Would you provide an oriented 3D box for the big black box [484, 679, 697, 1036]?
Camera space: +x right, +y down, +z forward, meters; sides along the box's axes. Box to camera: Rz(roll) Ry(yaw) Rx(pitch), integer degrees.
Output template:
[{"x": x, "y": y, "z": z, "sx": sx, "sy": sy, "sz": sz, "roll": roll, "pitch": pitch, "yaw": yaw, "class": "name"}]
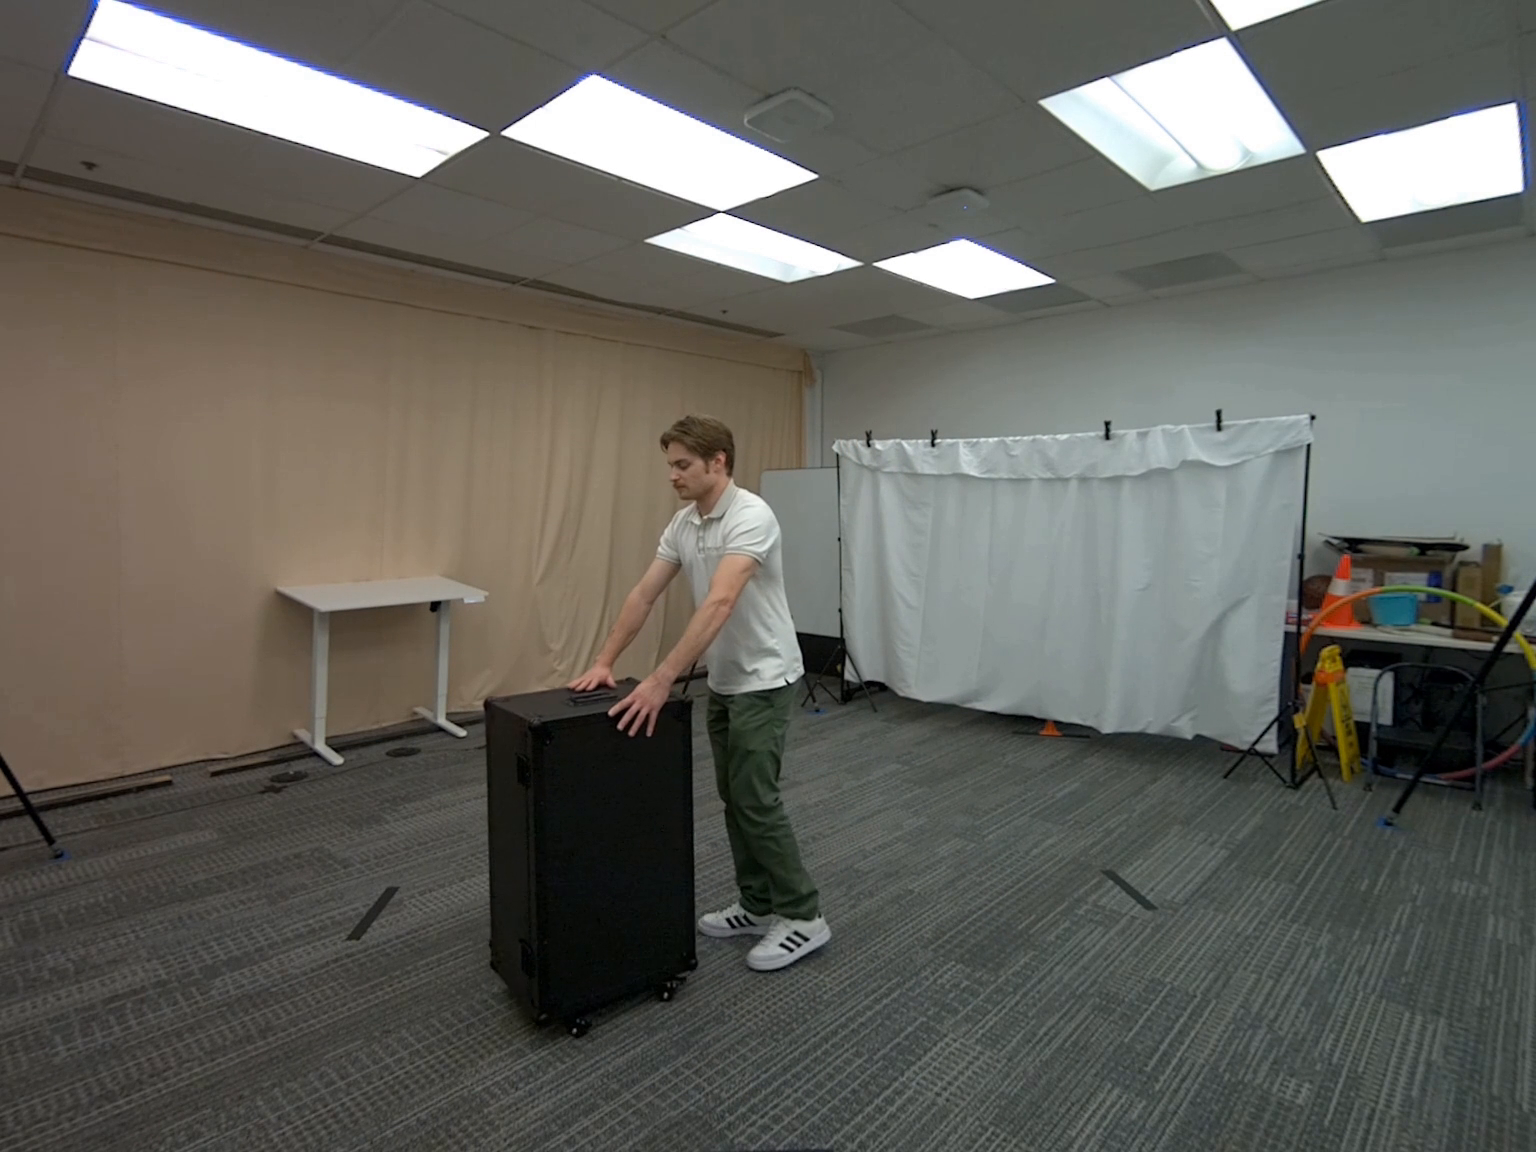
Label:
[{"x": -0.513, "y": 0.777, "z": 2.393, "sx": 0.508, "sy": 0.867, "sz": 0.397, "roll": -2, "pitch": 2, "yaw": -37, "class": "big black box"}]
